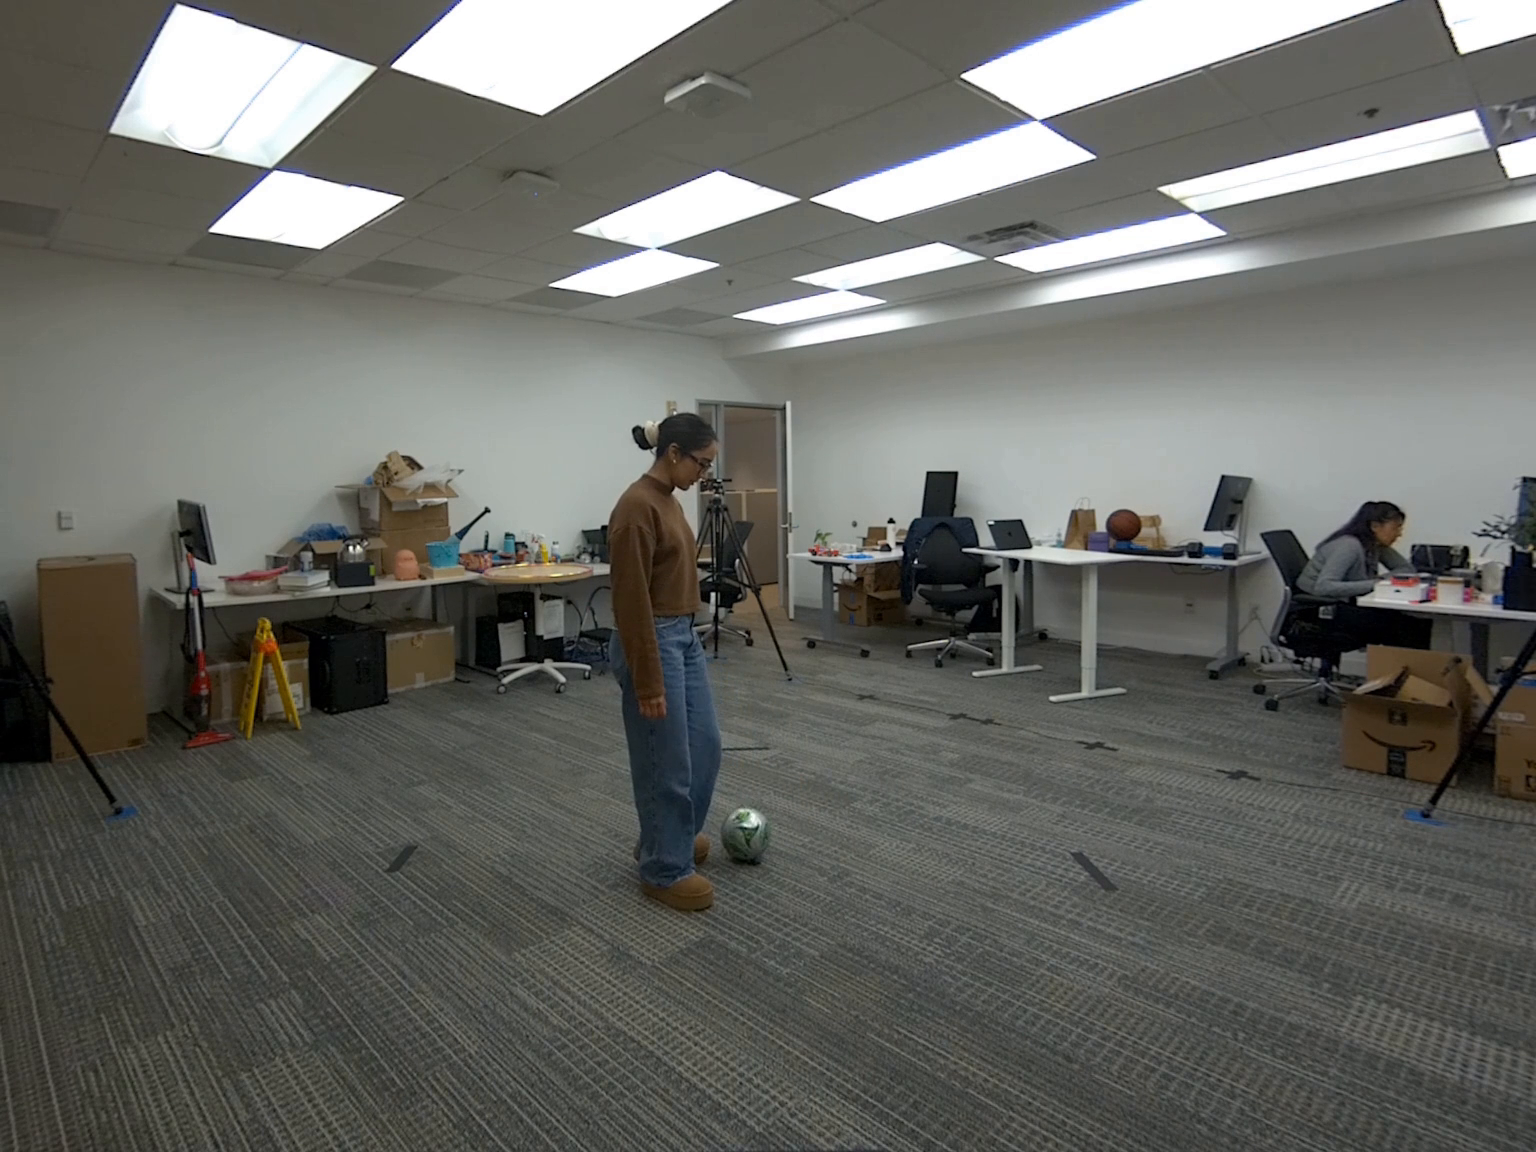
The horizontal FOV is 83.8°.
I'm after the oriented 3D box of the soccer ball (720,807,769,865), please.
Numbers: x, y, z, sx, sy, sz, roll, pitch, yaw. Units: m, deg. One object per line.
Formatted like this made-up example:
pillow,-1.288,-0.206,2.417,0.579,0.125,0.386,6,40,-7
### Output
soccer ball,-0.078,0.945,3.142,0.187,0.187,0.188,-1,5,-2
